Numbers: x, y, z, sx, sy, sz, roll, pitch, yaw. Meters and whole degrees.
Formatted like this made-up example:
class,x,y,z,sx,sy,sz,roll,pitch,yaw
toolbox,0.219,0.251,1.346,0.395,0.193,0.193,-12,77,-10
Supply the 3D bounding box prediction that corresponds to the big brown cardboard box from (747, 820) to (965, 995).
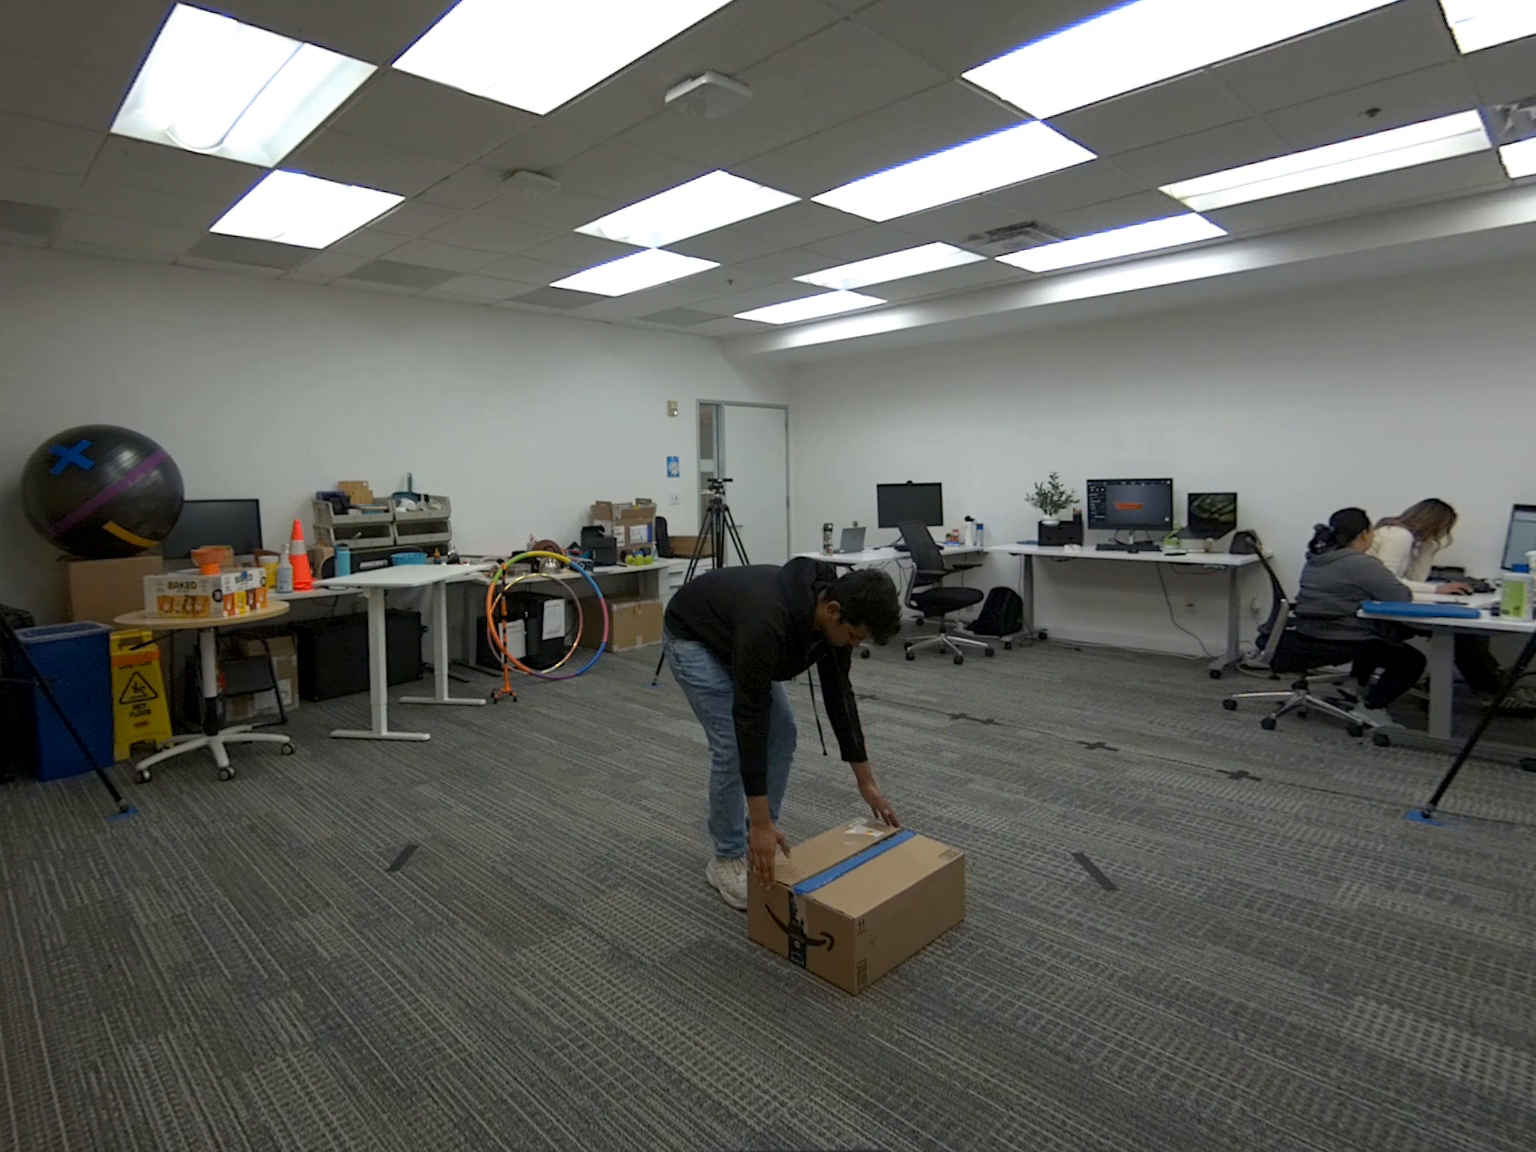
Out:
class,x,y,z,sx,sy,sz,roll,pitch,yaw
big brown cardboard box,0.280,0.976,2.639,0.430,0.232,0.574,5,9,45
